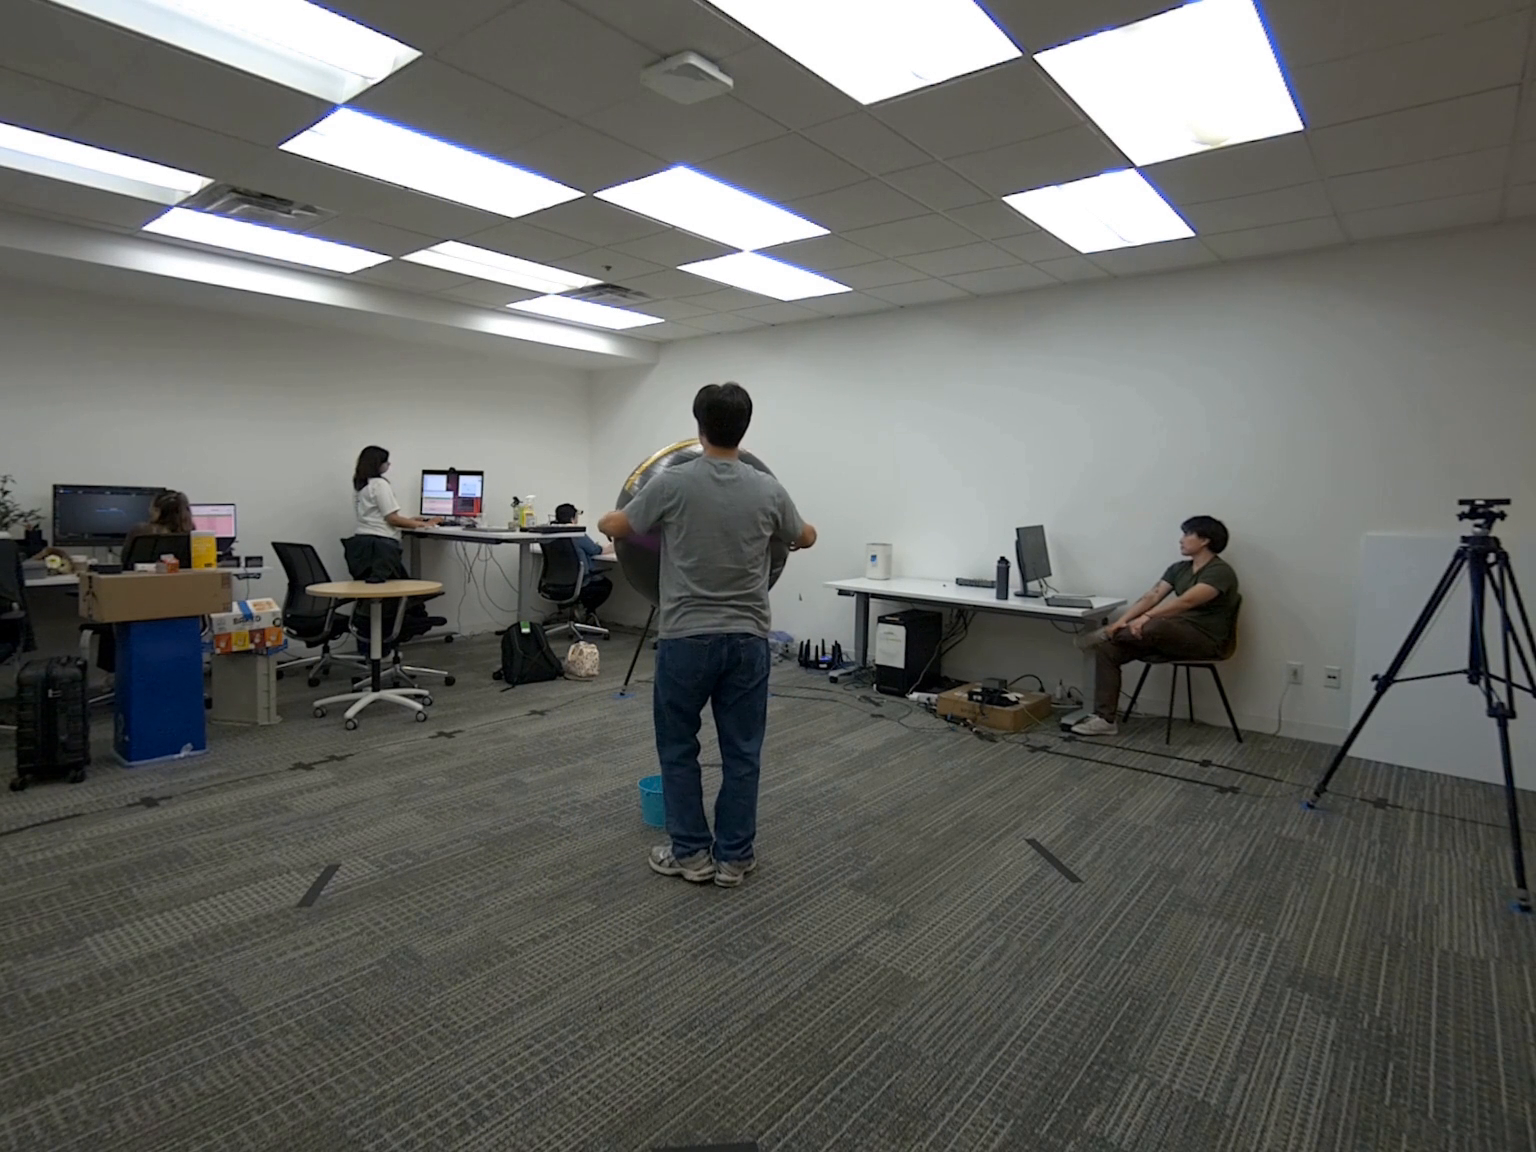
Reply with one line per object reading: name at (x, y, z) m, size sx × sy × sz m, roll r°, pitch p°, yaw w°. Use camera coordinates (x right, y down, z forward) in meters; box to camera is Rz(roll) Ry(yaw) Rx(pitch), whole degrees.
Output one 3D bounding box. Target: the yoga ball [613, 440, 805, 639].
yoga ball at (-0.288, -0.198, 3.606) m, size 0.757 × 0.756 × 0.761 m, roll 1°, pitch 4°, yaw -2°
